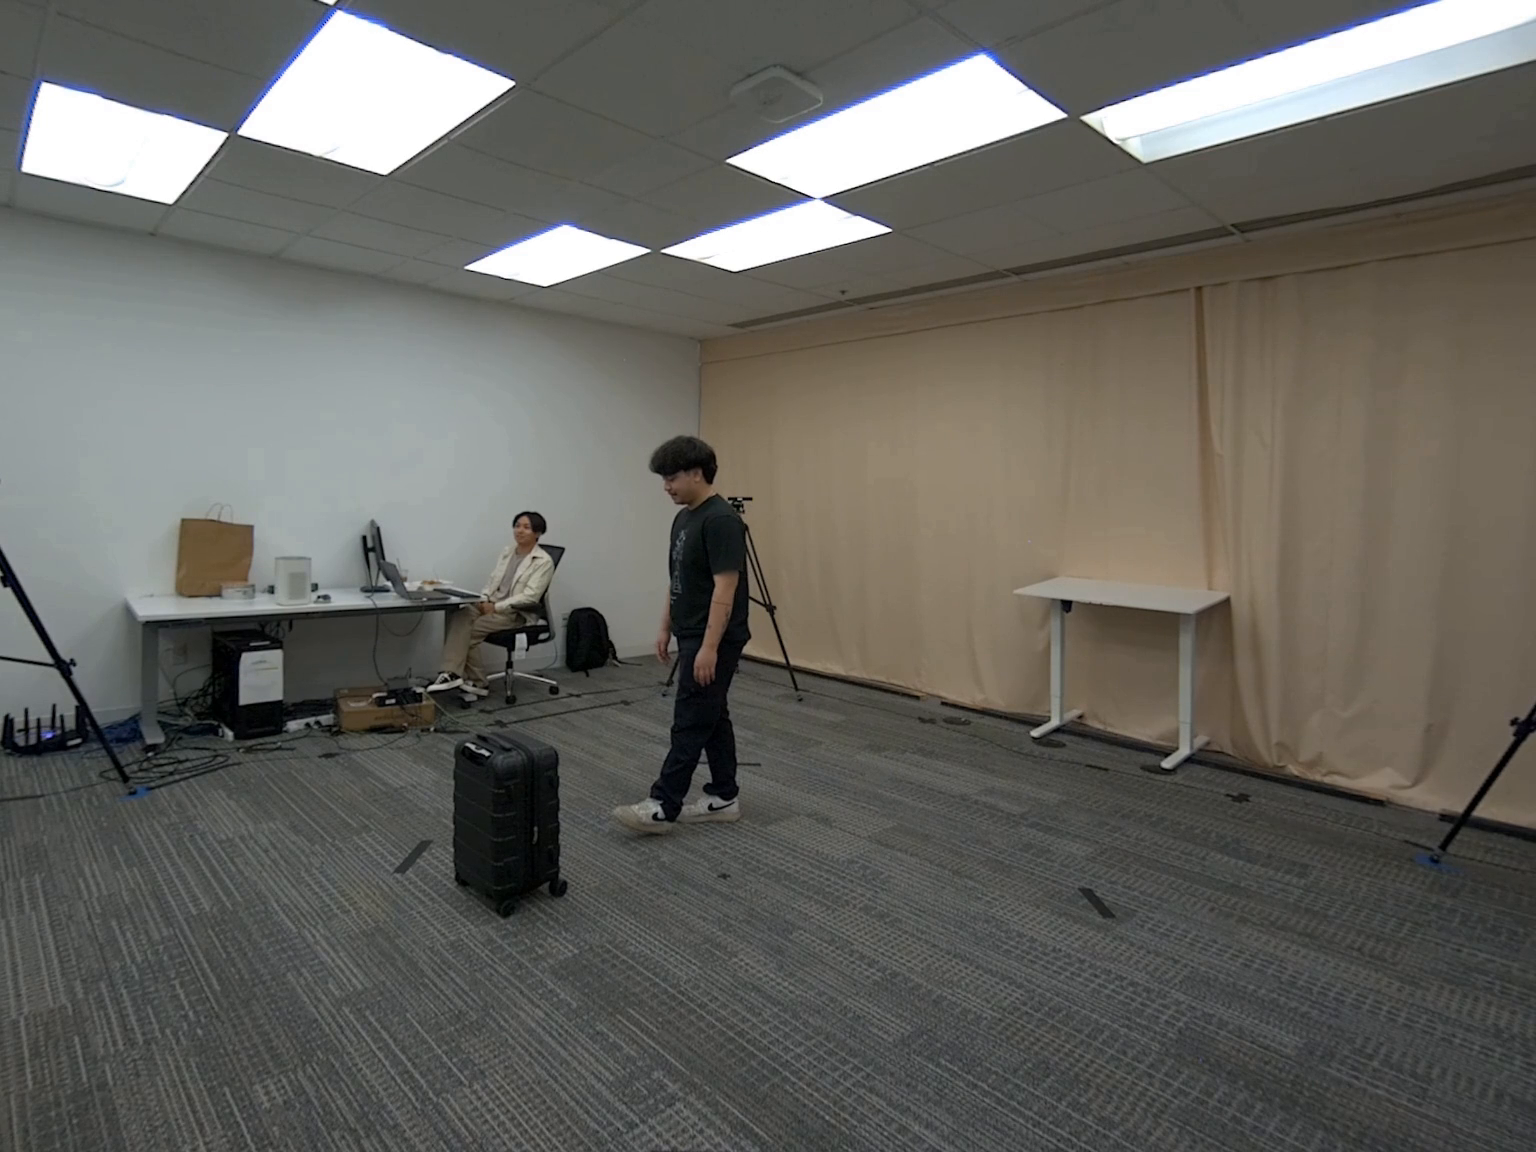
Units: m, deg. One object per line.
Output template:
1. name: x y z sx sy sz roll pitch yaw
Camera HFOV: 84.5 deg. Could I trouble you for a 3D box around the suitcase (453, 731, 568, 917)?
1. suitcase: -0.921 0.831 2.932 0.243 0.547 0.385 -4 6 -44
